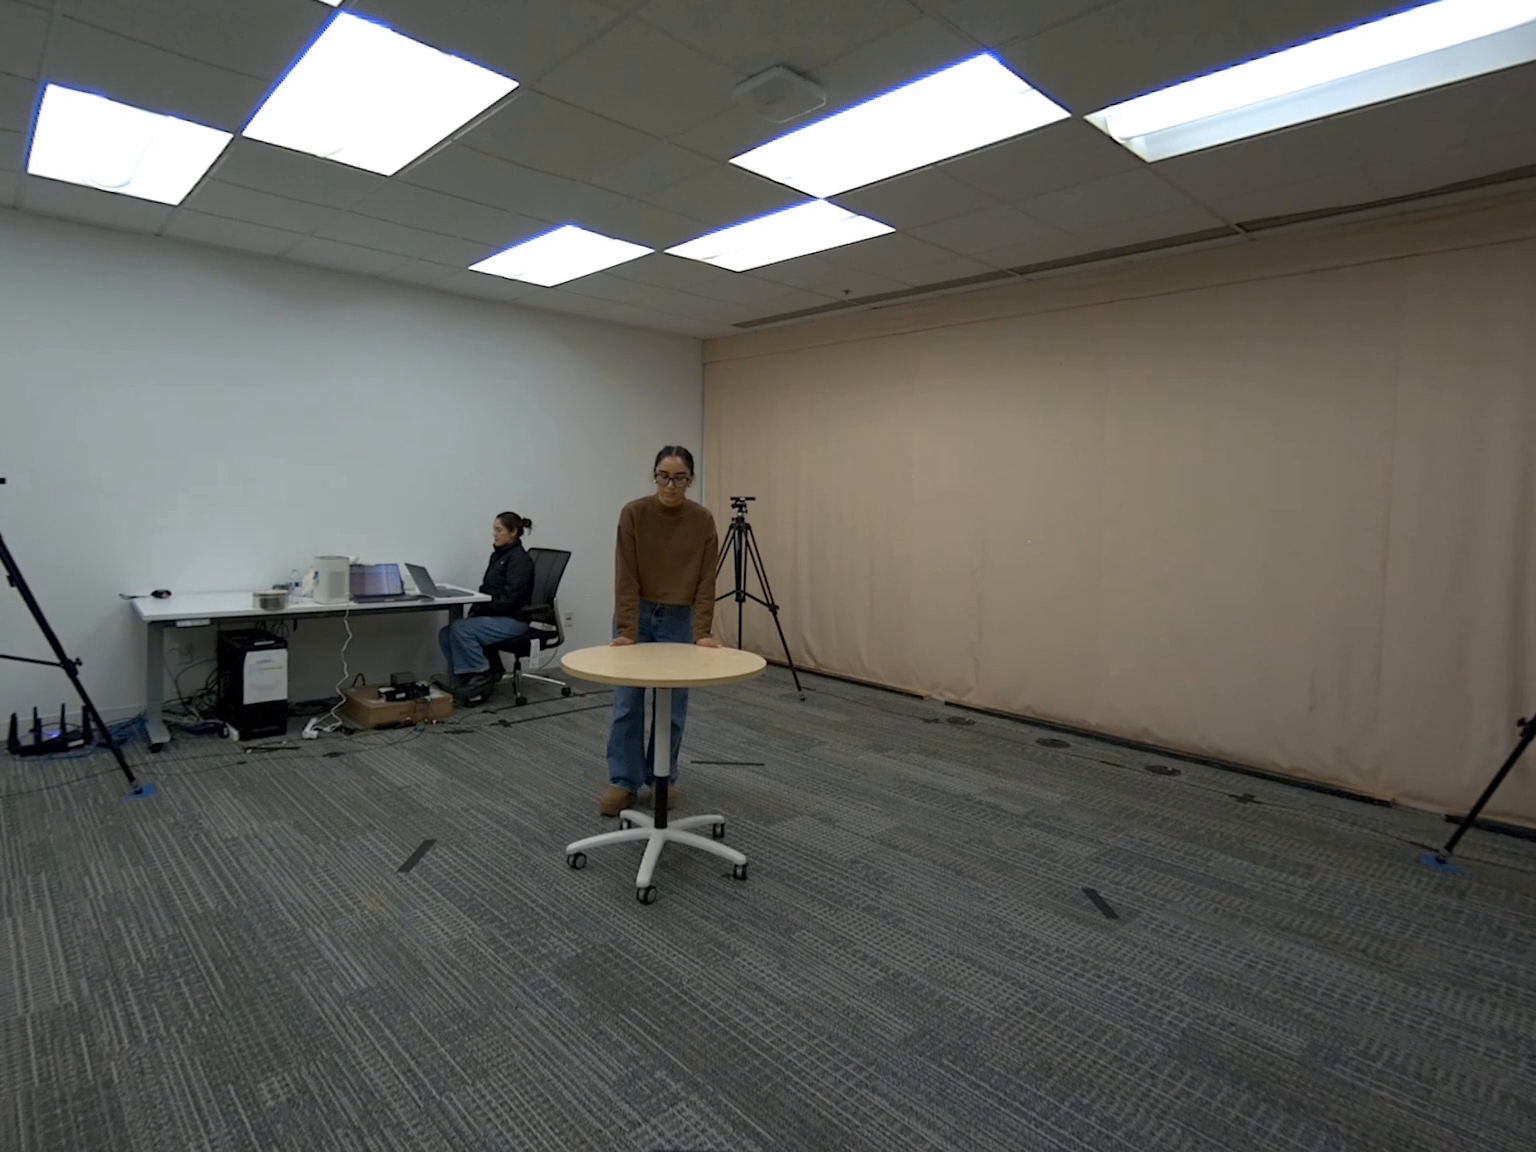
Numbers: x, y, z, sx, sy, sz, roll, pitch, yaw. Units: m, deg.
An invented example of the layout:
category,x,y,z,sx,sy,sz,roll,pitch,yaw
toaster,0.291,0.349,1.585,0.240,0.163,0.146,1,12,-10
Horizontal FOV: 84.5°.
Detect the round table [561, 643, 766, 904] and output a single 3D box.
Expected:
category,x,y,z,sx,sy,sz,roll,pitch,yaw
round table,-0.406,0.704,3.184,0.763,0.792,0.766,2,4,-1
